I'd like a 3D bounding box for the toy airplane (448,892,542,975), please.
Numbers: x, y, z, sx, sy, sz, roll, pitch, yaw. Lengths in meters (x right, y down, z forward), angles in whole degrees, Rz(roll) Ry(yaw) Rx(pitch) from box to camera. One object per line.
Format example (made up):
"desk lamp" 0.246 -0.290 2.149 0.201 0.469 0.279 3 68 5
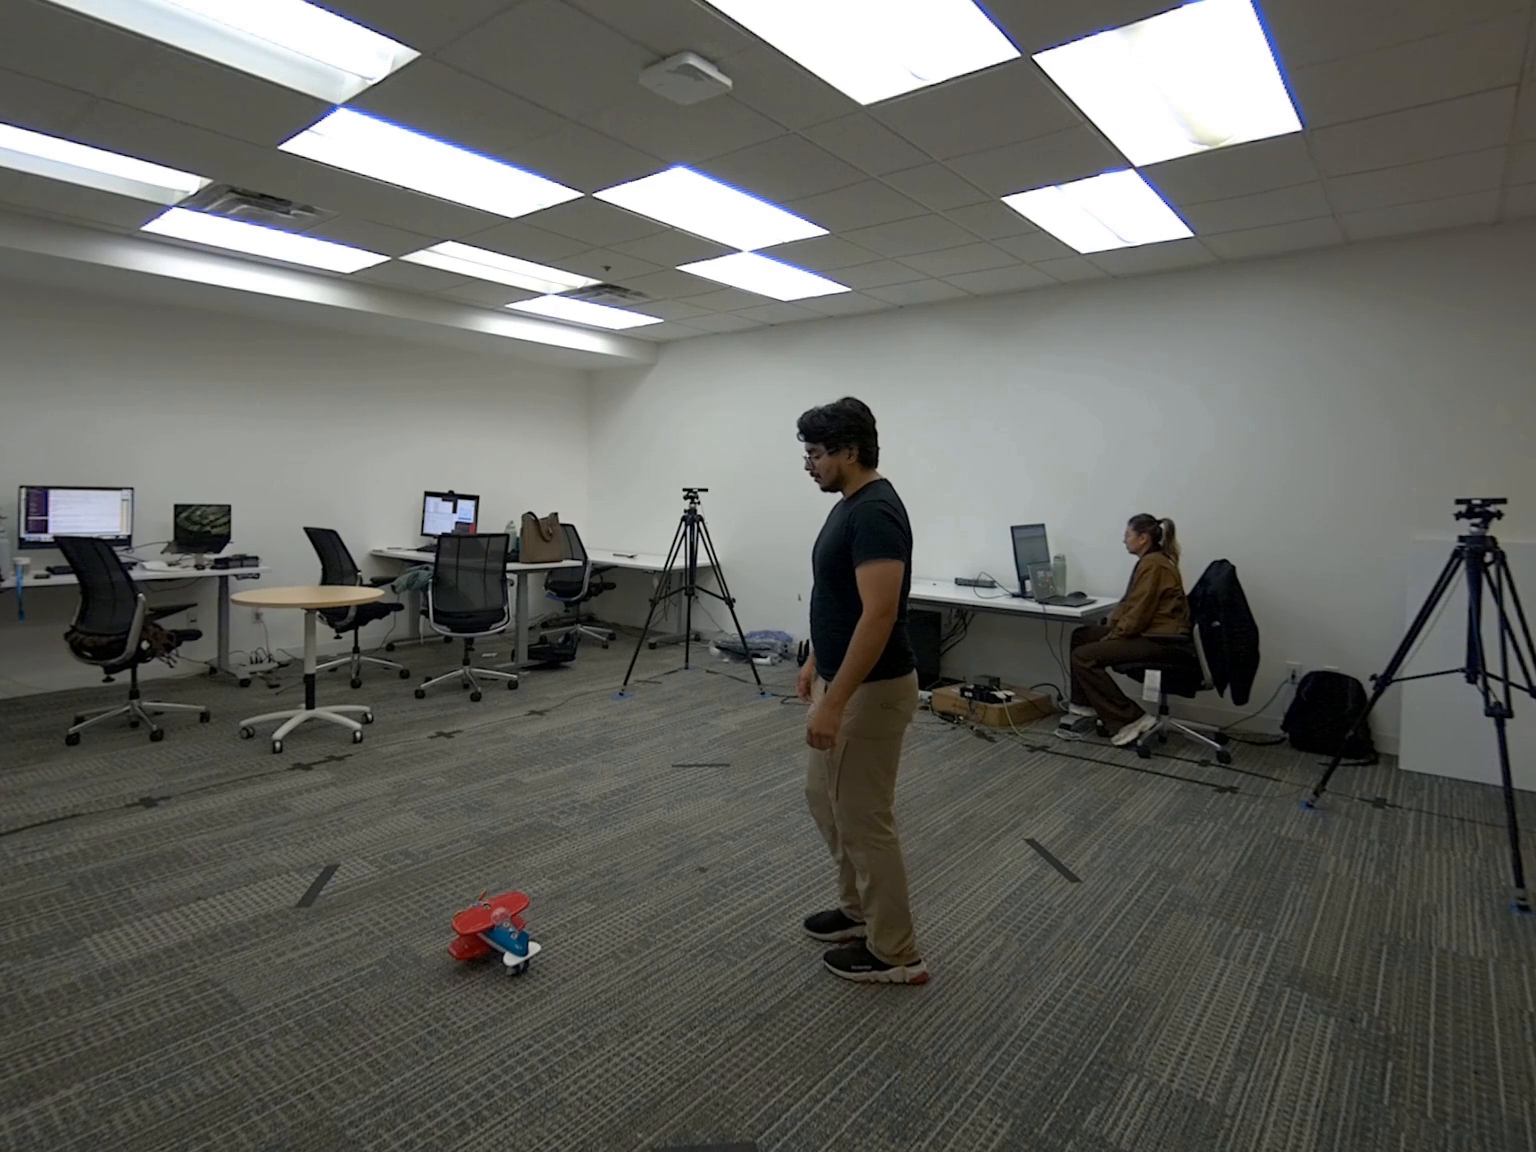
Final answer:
"toy airplane" -0.784 1.045 2.496 0.260 0.156 0.251 0 5 4
